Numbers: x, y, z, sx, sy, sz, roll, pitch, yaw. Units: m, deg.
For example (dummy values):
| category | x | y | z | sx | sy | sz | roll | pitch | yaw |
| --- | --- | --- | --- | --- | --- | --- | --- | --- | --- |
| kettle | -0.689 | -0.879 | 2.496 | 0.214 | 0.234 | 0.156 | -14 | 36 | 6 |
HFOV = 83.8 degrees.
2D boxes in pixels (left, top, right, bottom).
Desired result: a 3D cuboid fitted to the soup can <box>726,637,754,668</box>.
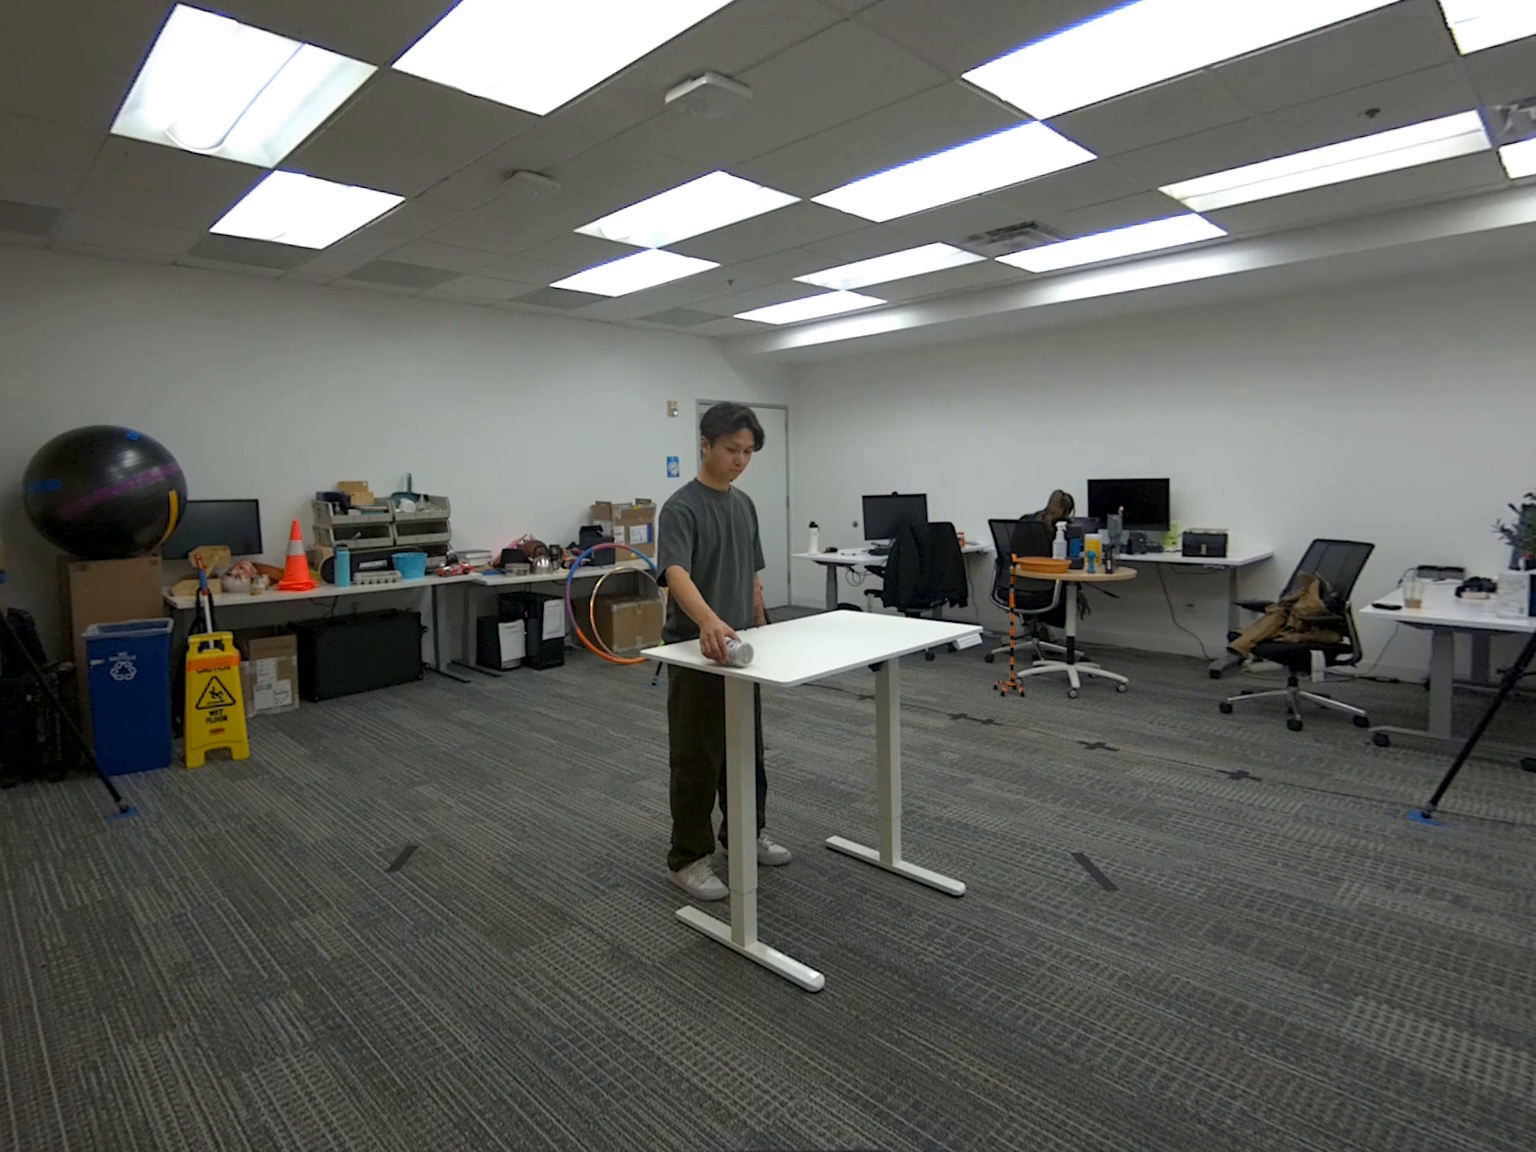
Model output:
| category | x | y | z | sx | sy | sz | roll | pitch | yaw |
| --- | --- | --- | --- | --- | --- | --- | --- | --- | --- |
| soup can | -0.109 | 0.214 | 2.393 | 0.125 | 0.067 | 0.065 | 2 | 6 | 40 |
